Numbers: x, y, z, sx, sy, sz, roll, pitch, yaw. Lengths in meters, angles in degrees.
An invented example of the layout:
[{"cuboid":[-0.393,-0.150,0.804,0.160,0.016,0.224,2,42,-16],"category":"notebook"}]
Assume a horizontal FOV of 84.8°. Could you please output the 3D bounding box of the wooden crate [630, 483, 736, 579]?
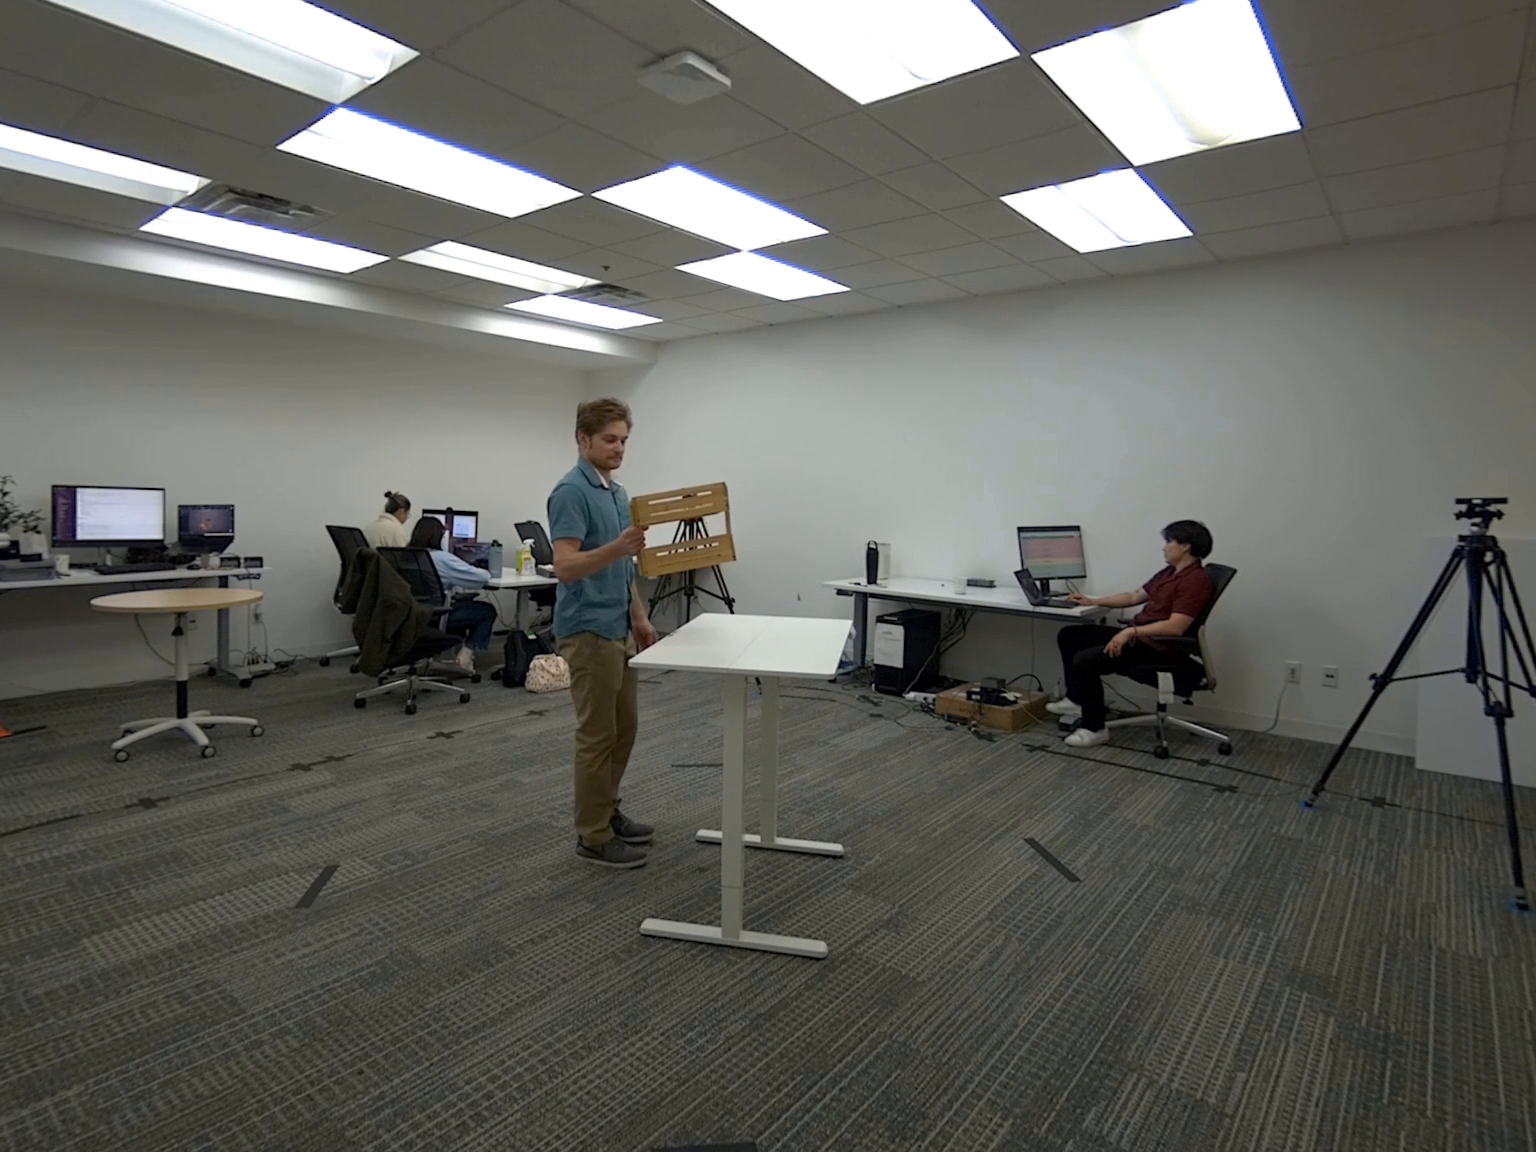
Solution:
[{"cuboid":[-0.310,-0.160,2.864,0.321,0.273,0.305,-10,3,-11],"category":"wooden crate"}]
